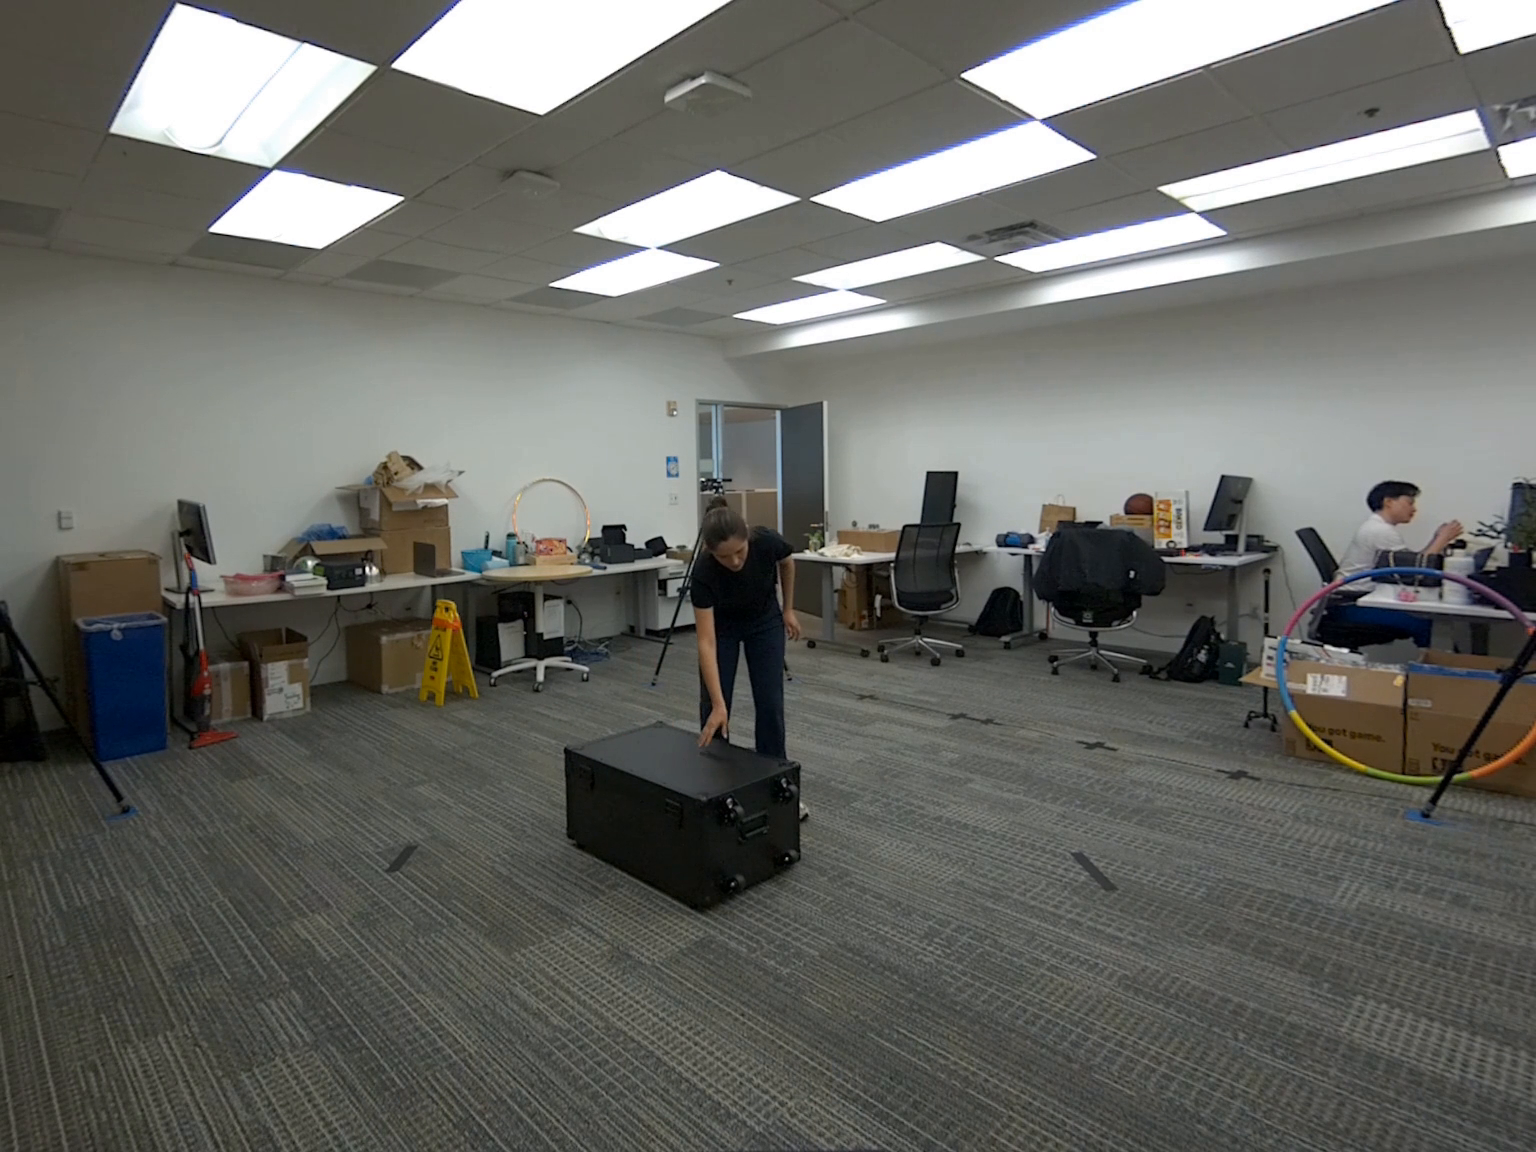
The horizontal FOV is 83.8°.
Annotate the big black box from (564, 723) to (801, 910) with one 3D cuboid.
[{"bbox_3d":[-0.308,0.834,3.163,0.889,0.394,0.507,6,9,44],"label":"big black box"}]
